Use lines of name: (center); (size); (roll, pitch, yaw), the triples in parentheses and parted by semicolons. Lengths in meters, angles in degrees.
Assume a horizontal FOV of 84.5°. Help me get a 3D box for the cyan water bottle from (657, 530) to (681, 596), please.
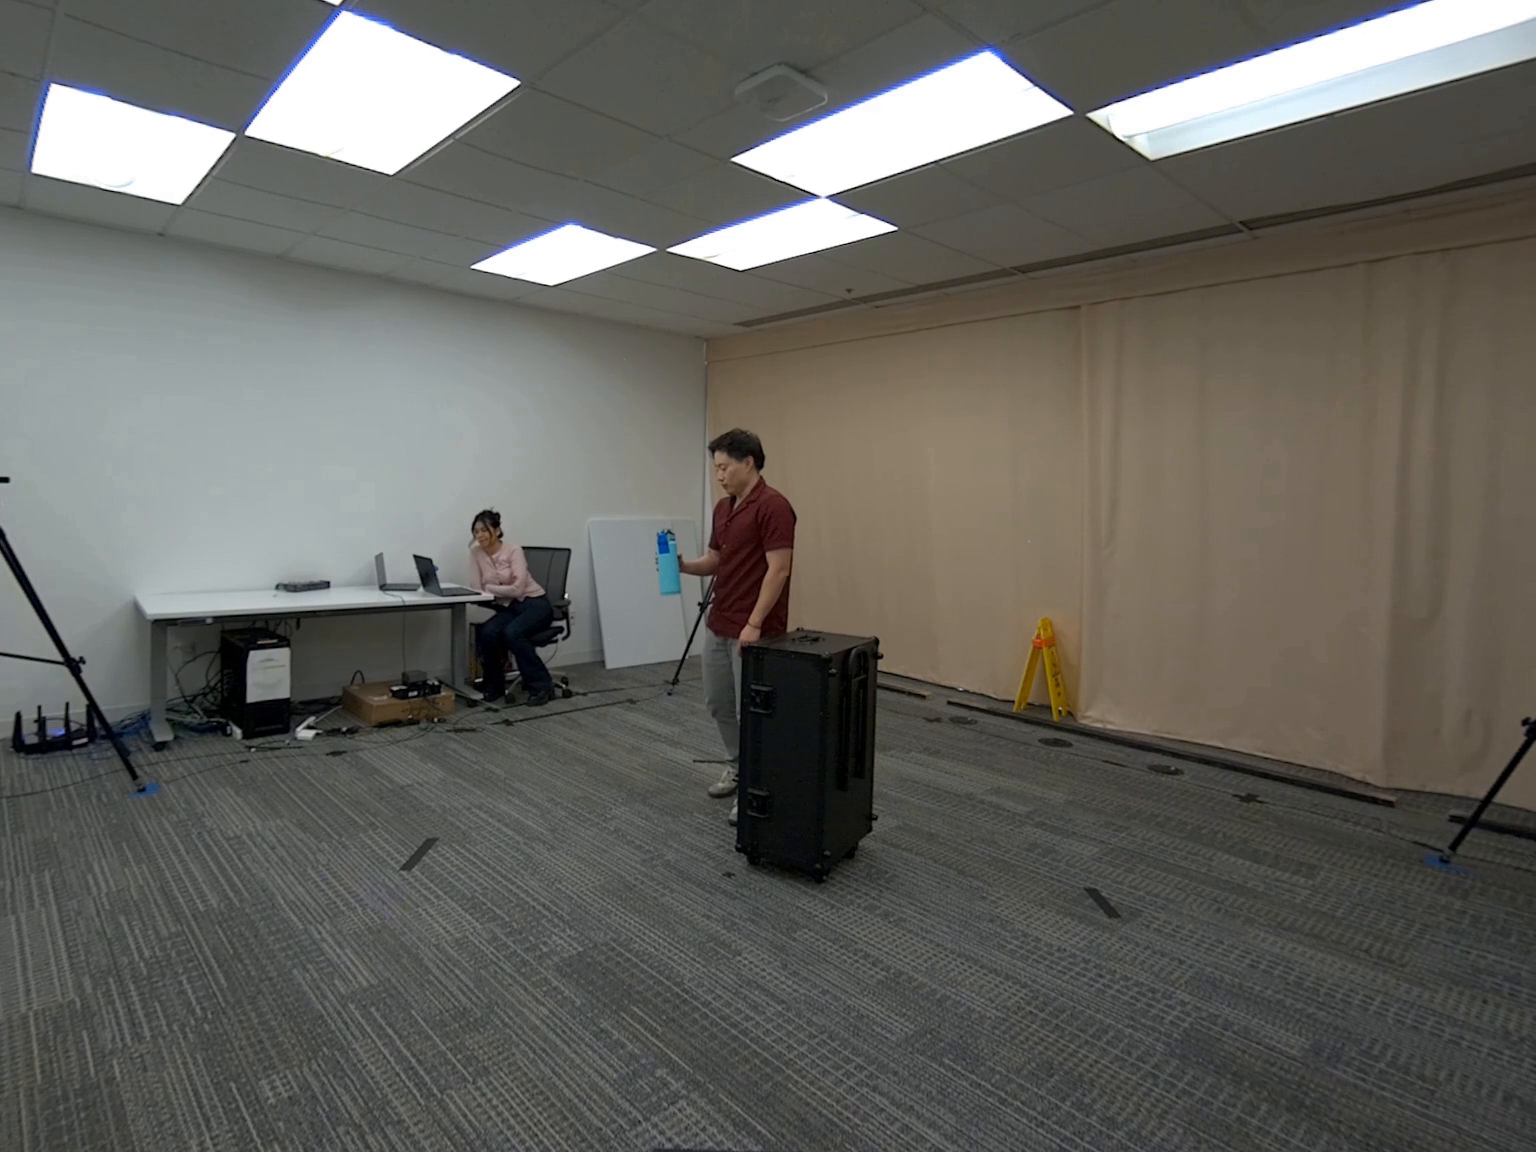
cyan water bottle: (-0.430, -0.062, 3.591); (0.092, 0.282, 0.093); (-6, 5, -1)
